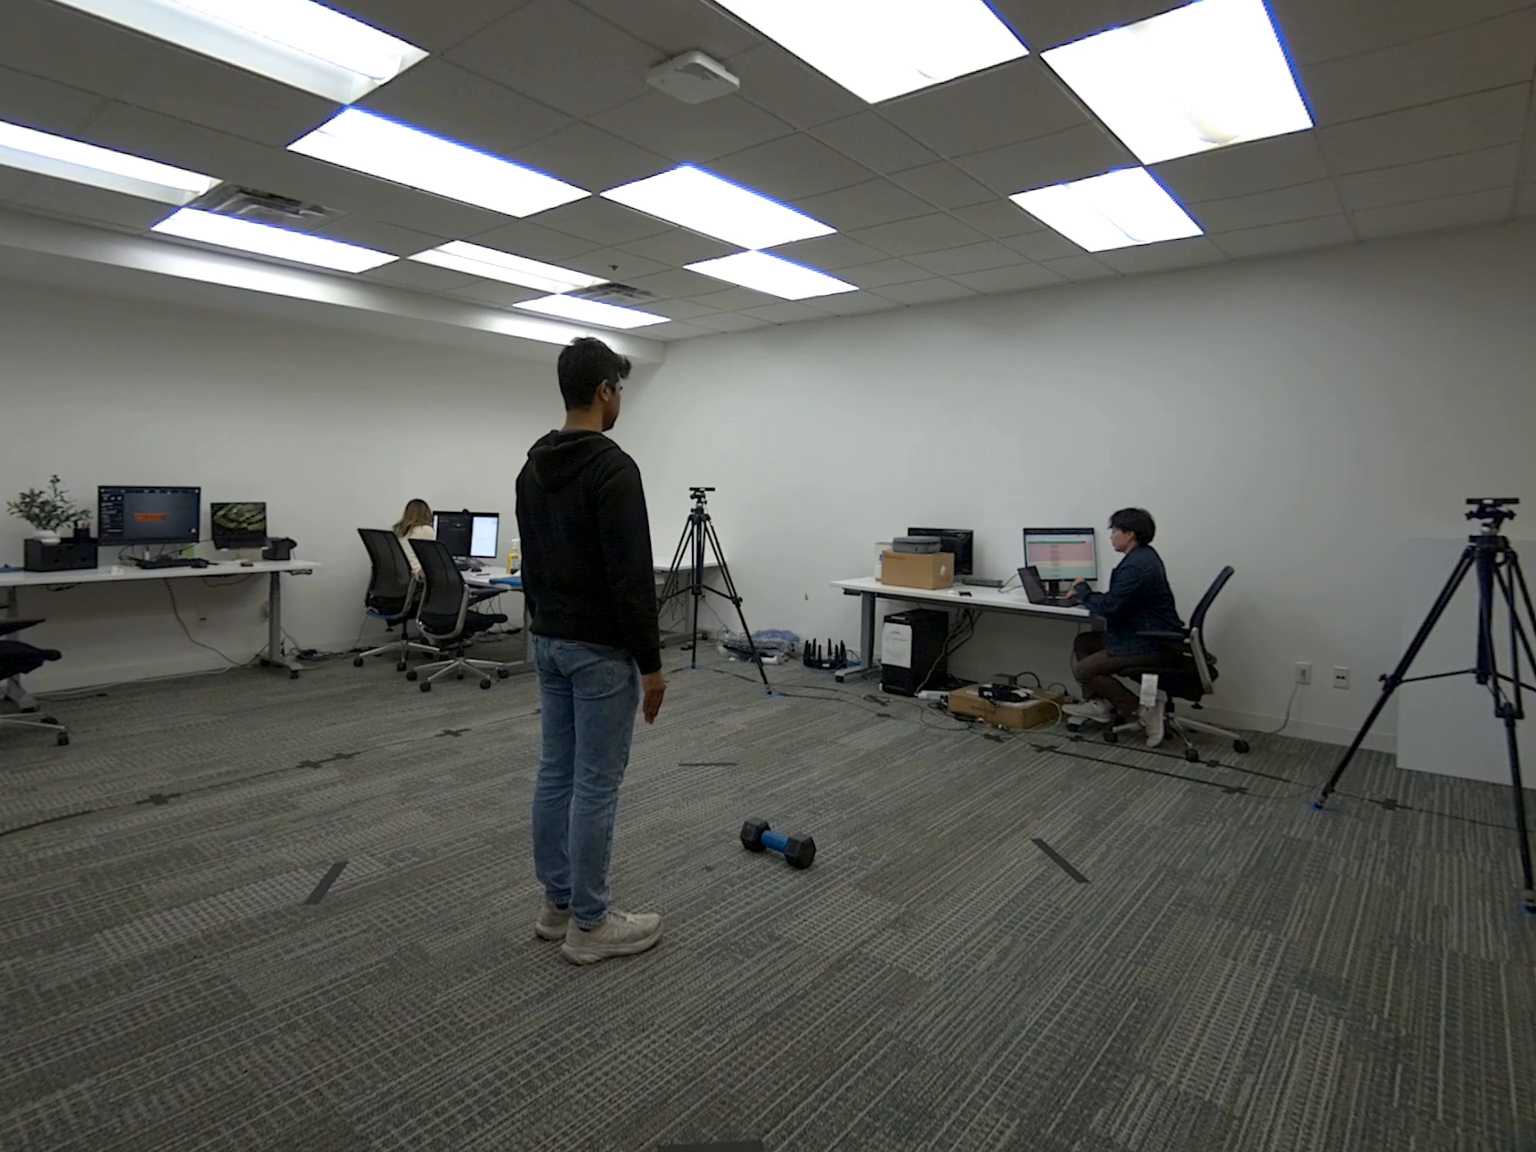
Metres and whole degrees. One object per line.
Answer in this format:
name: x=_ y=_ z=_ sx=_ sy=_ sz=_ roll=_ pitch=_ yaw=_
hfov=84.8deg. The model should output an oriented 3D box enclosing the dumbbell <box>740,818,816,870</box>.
dumbbell: x=0.027 y=1.005 z=3.222 sx=0.303 sy=0.119 sz=0.108 roll=5 pitch=34 yaw=40
